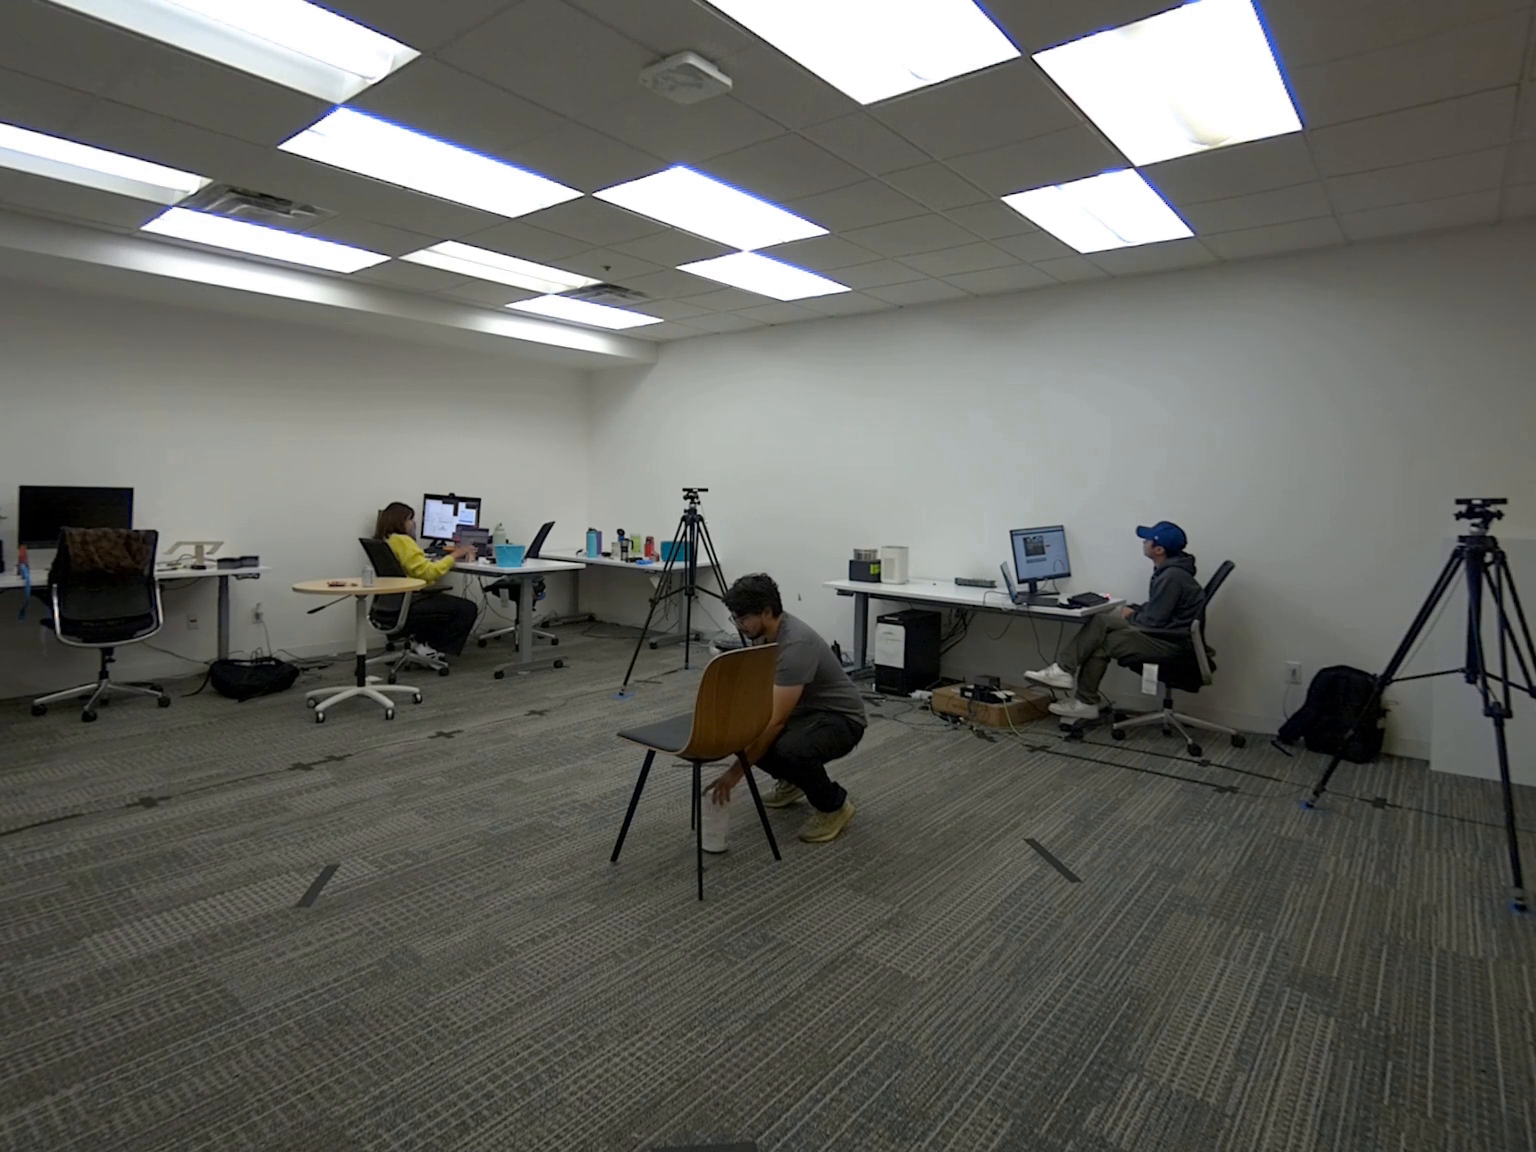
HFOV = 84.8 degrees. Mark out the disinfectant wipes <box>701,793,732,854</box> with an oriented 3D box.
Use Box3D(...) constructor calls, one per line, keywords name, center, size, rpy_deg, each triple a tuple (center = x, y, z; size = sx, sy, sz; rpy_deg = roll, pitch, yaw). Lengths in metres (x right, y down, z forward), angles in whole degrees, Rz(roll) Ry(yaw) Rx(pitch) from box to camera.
Box3D(name="disinfectant wipes", center=(-0.210, 0.947, 3.282), size=(0.118, 0.217, 0.118), rpy_deg=(1, 0, -2))
